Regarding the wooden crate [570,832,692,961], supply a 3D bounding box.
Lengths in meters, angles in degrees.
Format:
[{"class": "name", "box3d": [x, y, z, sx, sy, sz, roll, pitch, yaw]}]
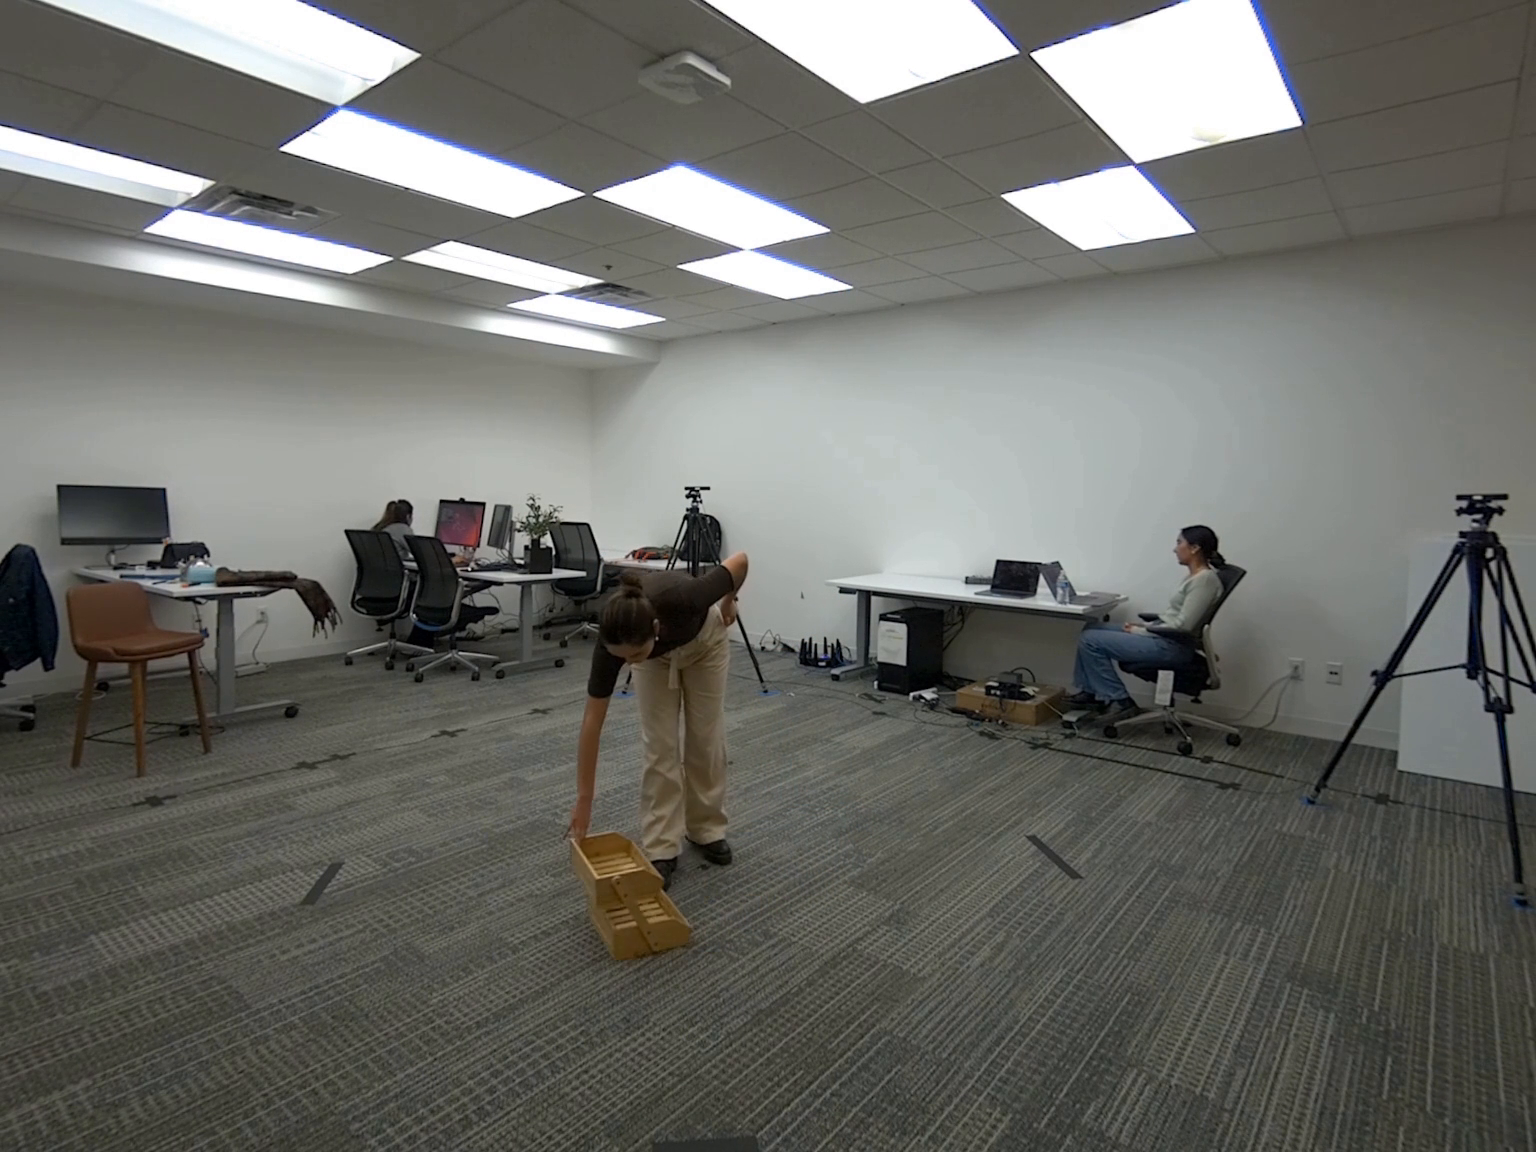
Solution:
[{"class": "wooden crate", "box3d": [-0.436, 0.970, 2.652, 0.295, 0.272, 0.333, -3, 5, -26]}]
